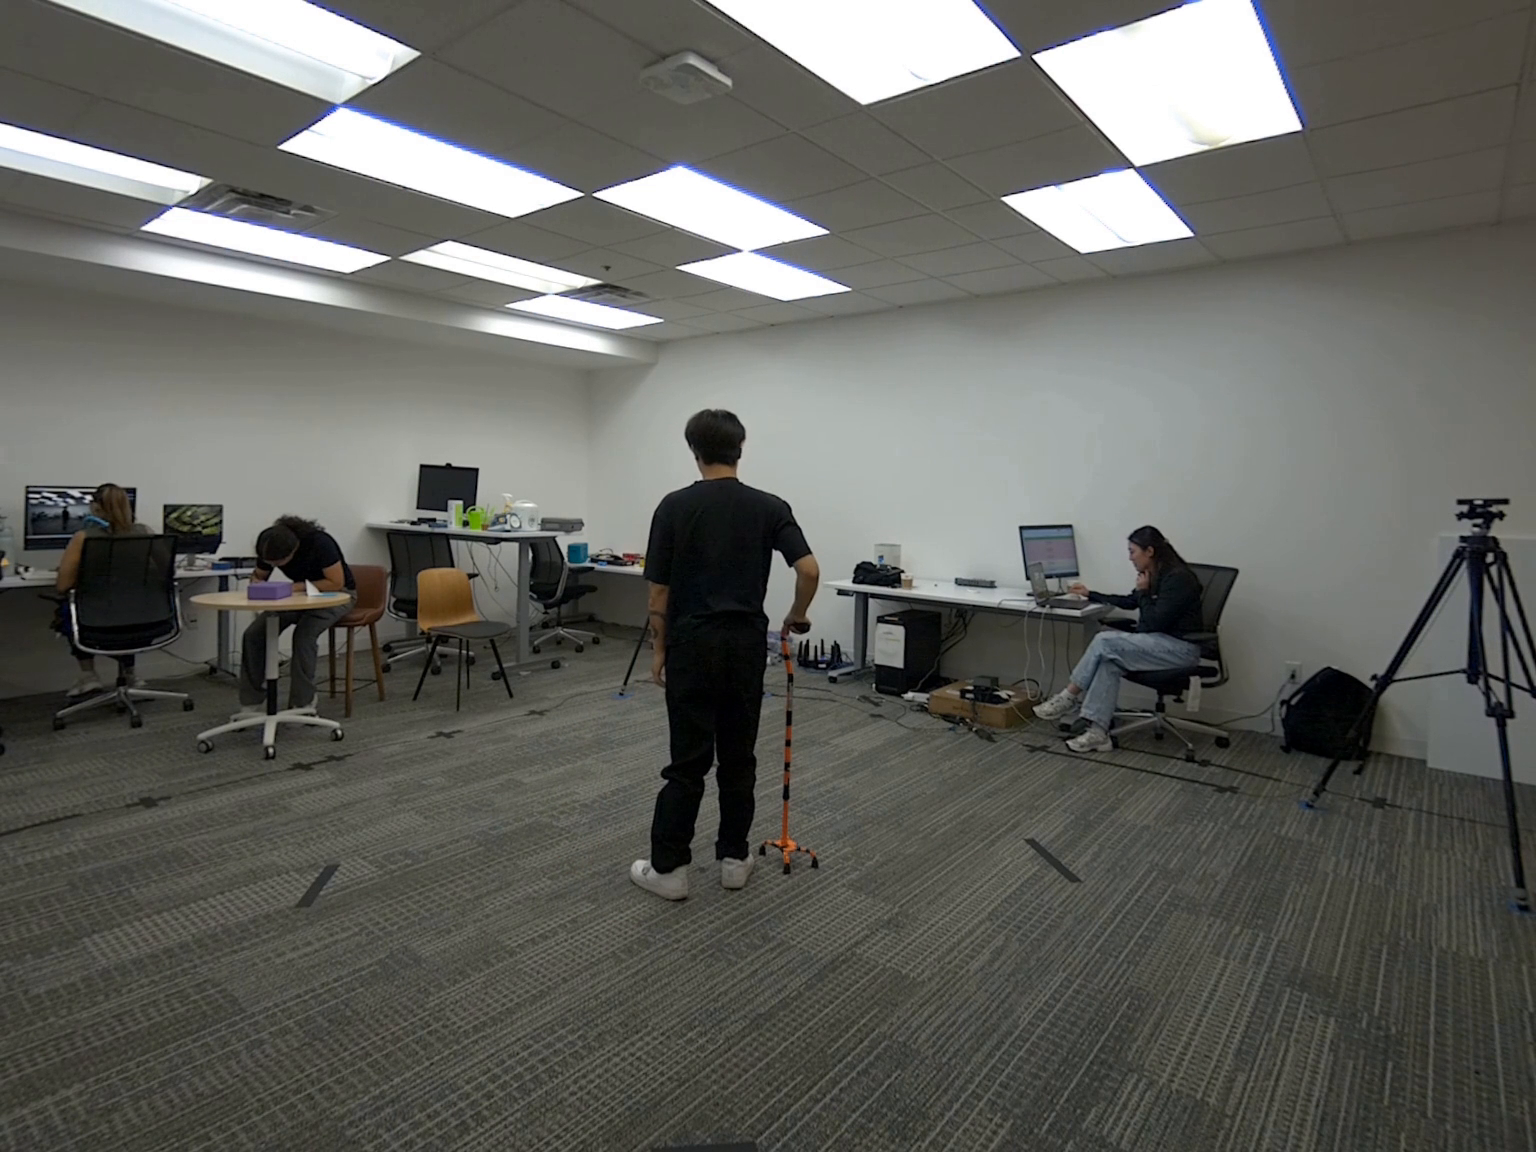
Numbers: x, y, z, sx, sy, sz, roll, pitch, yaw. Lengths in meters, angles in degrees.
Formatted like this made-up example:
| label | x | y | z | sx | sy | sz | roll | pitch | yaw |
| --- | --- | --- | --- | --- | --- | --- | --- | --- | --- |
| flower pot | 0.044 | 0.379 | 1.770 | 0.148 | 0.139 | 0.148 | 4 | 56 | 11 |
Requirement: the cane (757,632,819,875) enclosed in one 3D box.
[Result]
| label | x | y | z | sx | sy | sz | roll | pitch | yaw |
| --- | --- | --- | --- | --- | --- | --- | --- | --- | --- |
| cane | 0.079 | 0.616 | 3.178 | 0.147 | 0.906 | 0.213 | 0 | 3 | -31 |
